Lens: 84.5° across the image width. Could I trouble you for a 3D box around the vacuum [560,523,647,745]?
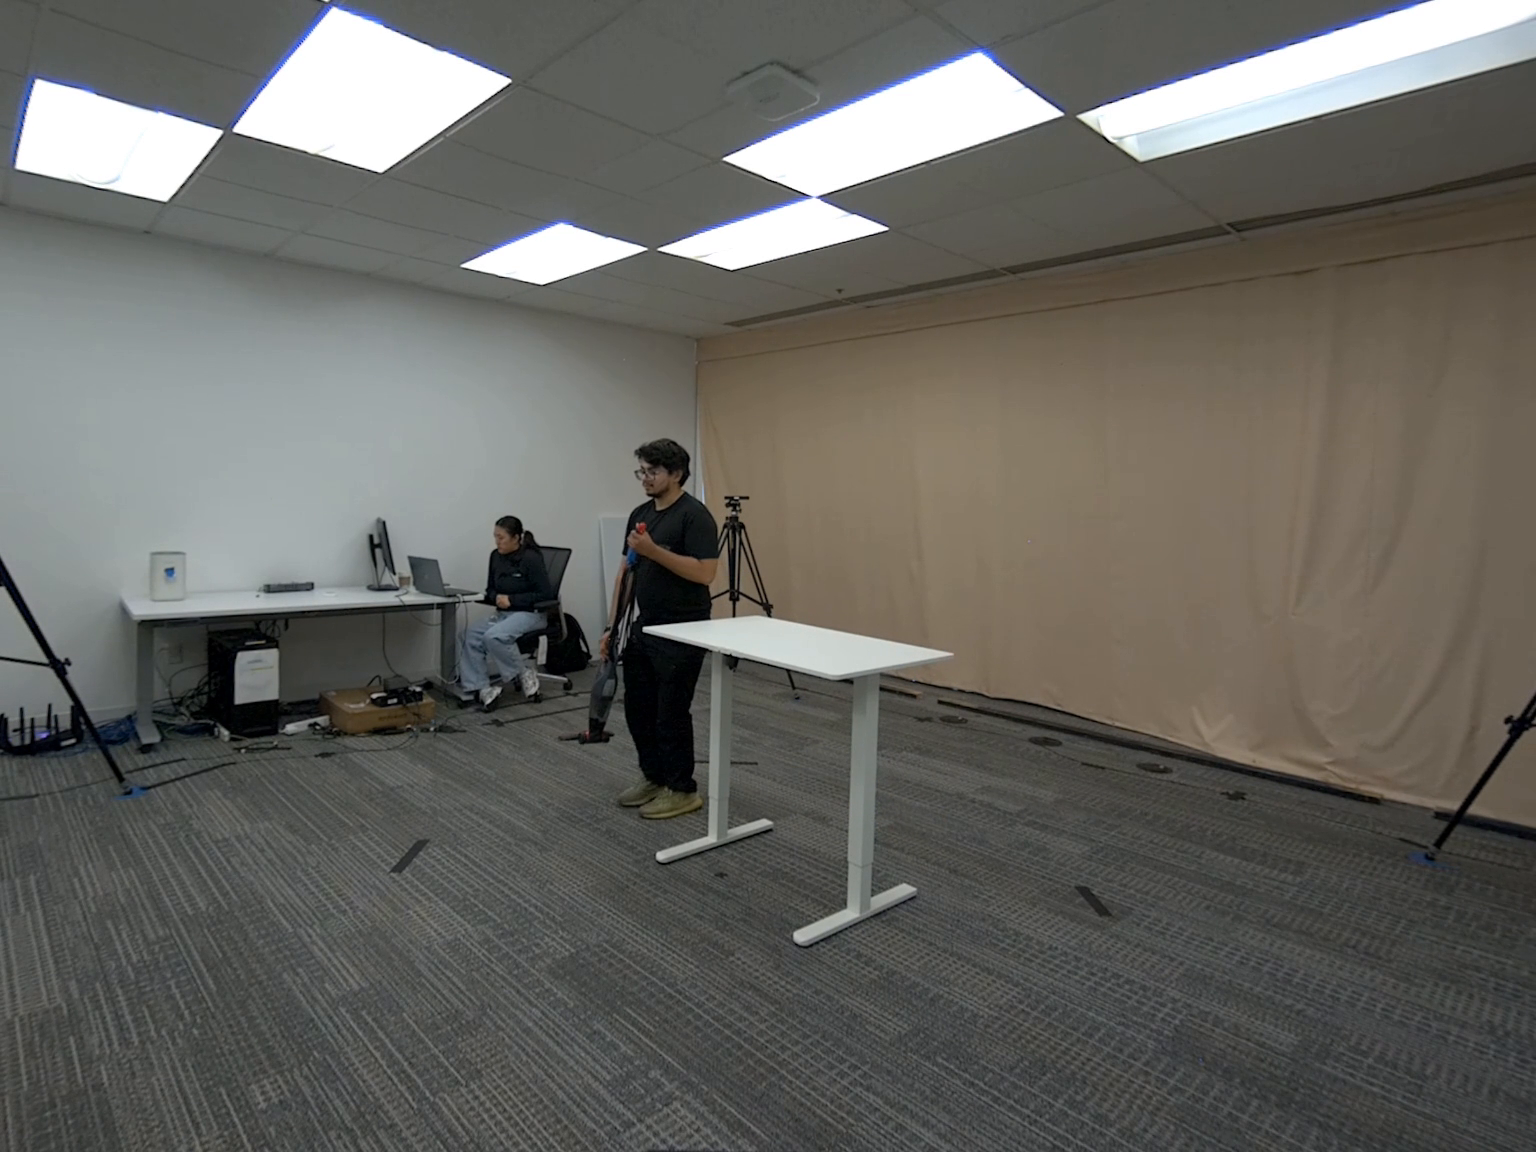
[{"bbox_3d":[-0.656,0.257,3.564,0.247,1.040,0.148,7,21,-29],"label":"vacuum"}]
